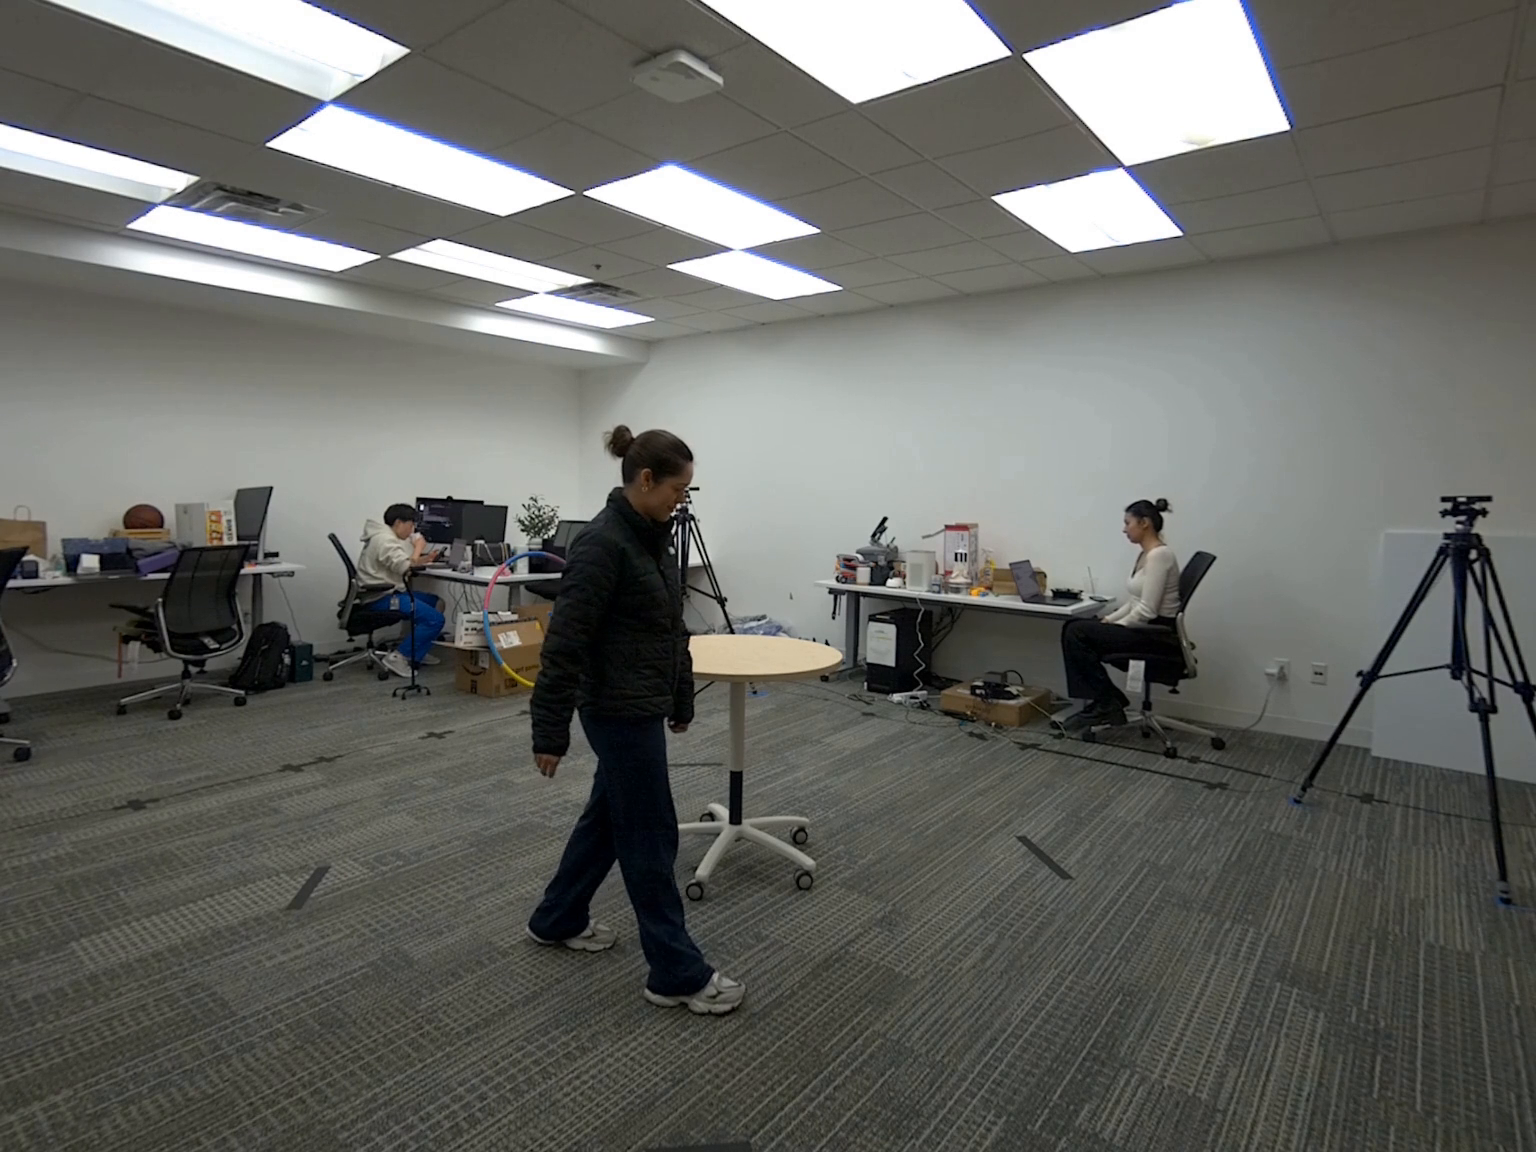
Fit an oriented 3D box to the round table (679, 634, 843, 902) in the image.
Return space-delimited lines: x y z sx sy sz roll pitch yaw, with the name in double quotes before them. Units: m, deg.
"round table" -0.096 0.668 3.165 0.784 0.784 0.789 1 4 -2
